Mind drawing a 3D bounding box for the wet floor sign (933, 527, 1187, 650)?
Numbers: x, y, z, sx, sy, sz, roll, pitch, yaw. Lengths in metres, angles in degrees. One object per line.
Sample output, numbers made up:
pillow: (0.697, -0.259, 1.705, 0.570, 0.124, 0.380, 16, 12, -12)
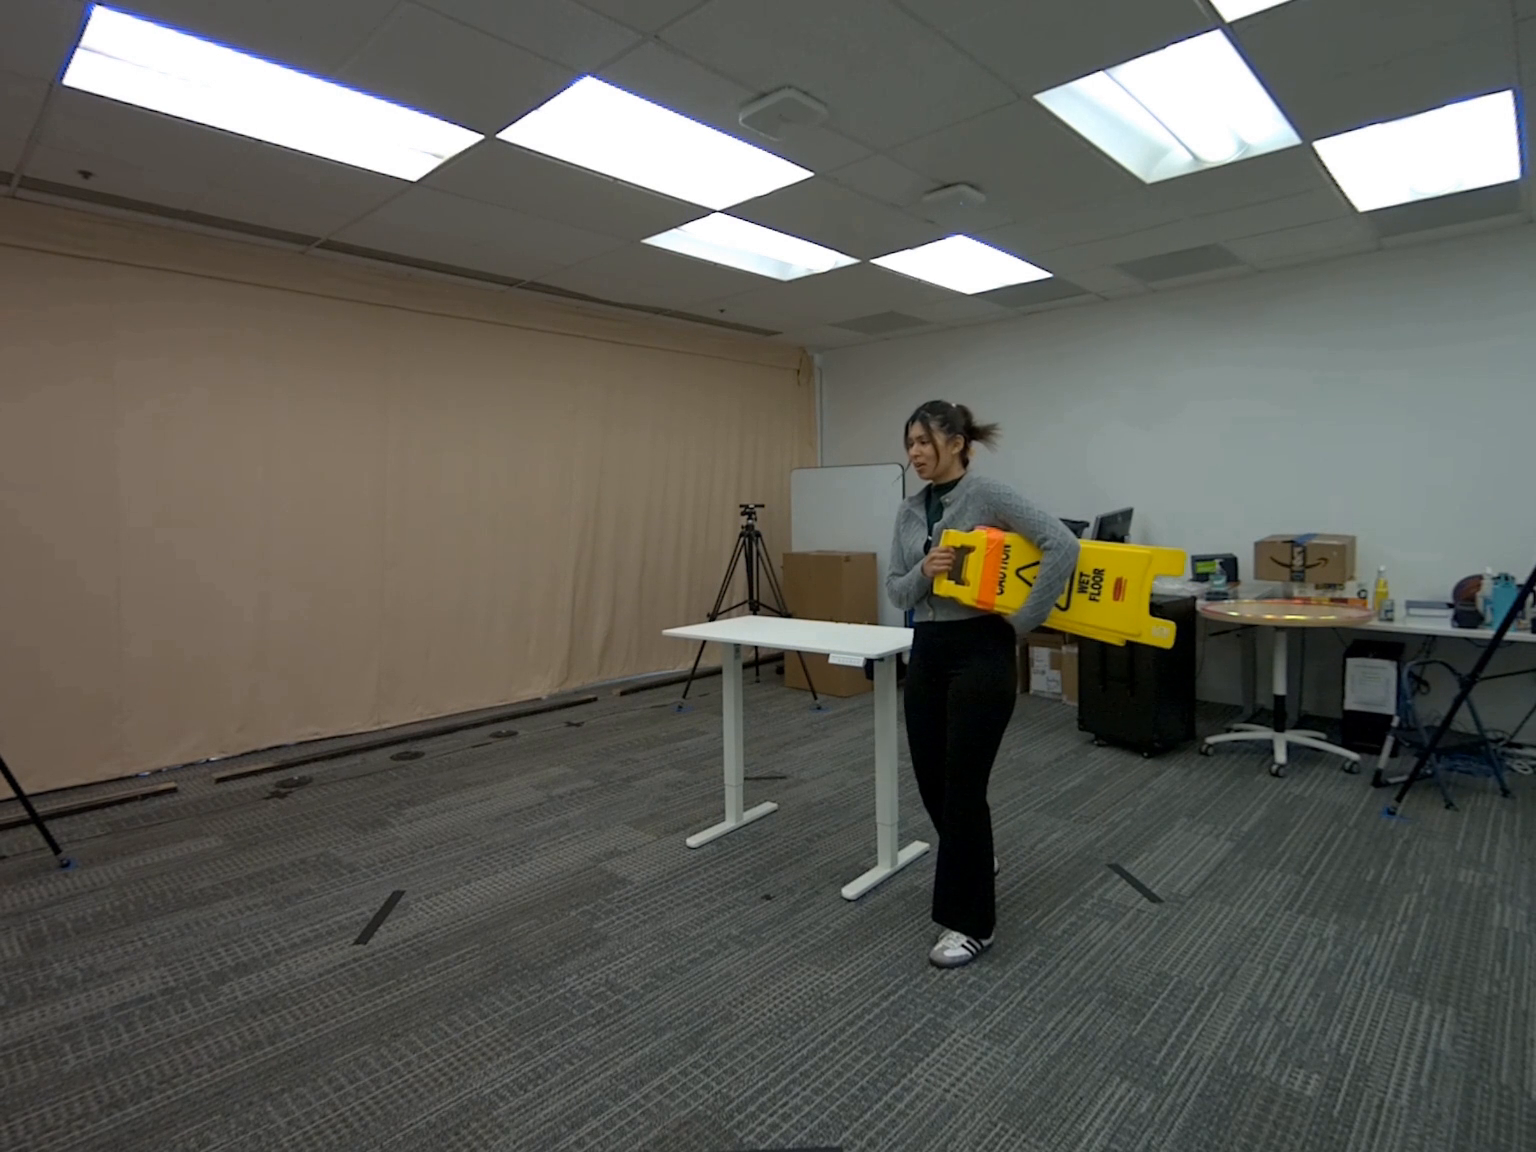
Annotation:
wet floor sign: (0.828, 0.015, 2.488, 0.645, 0.283, 0.290, 8, -3, -2)
